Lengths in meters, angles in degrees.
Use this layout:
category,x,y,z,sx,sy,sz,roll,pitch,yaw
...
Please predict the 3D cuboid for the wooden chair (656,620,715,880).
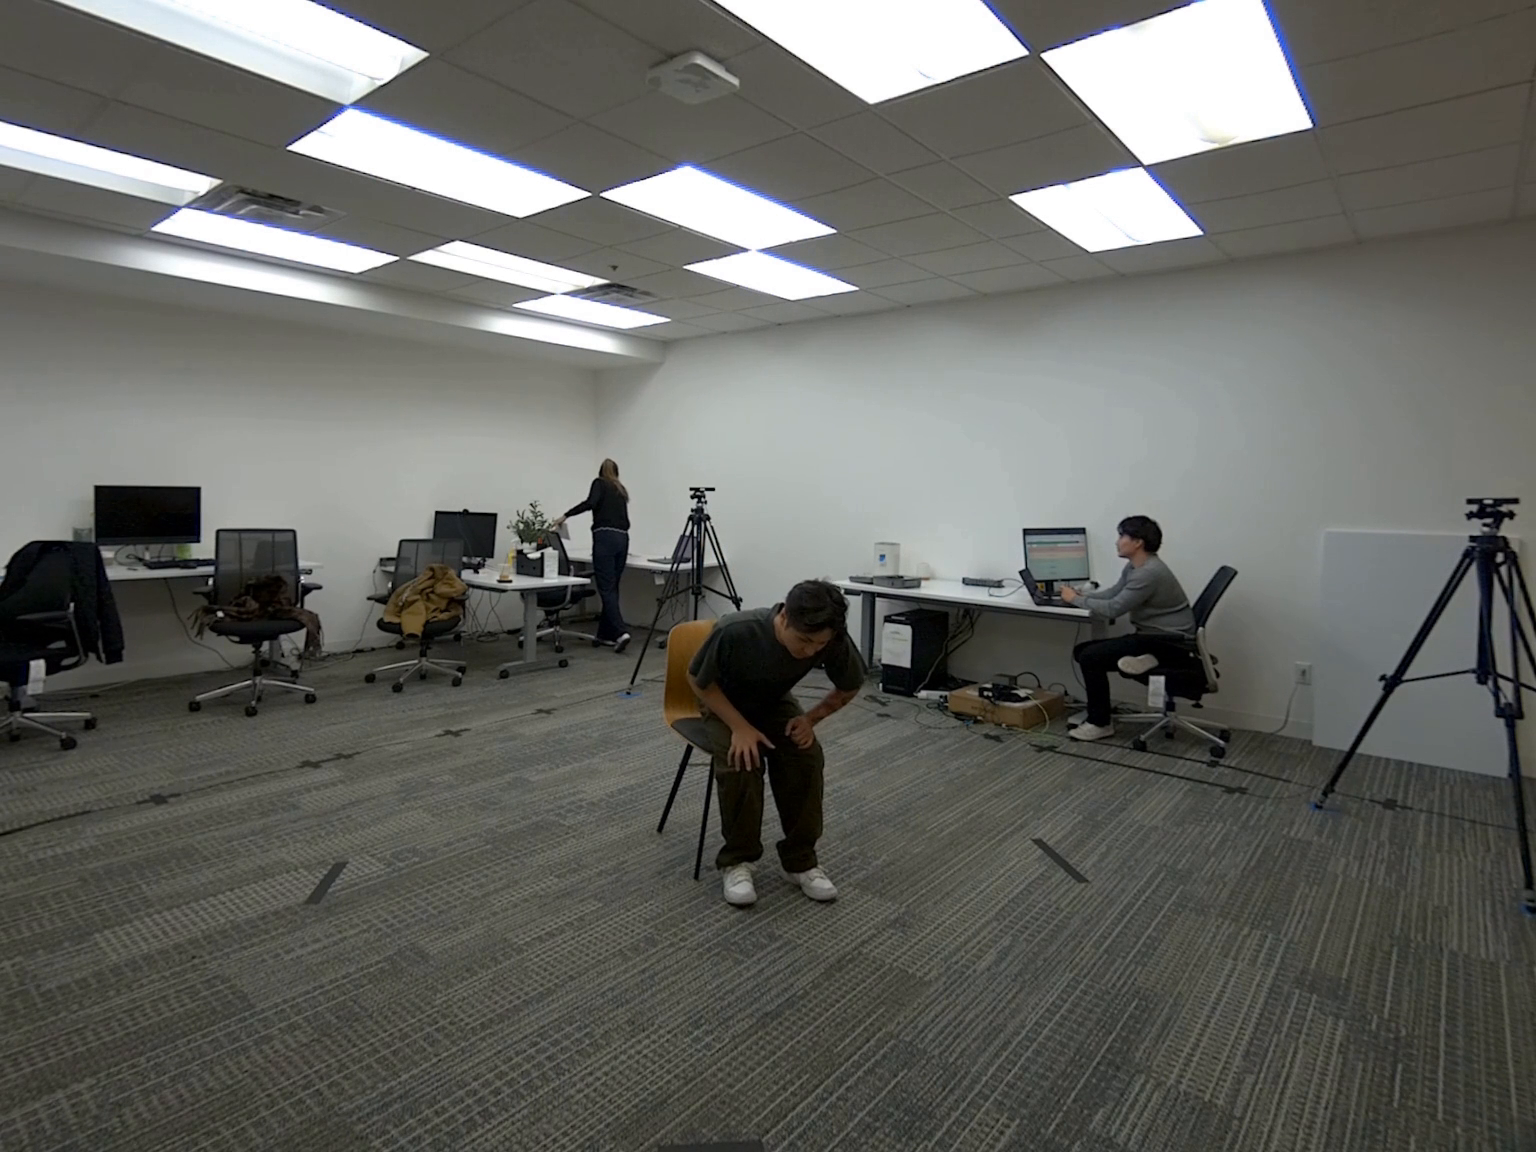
category,x,y,z,sx,sy,sz,roll,pitch,yaw
wooden chair,-0.146,0.623,3.273,0.467,0.878,0.535,0,0,-23
